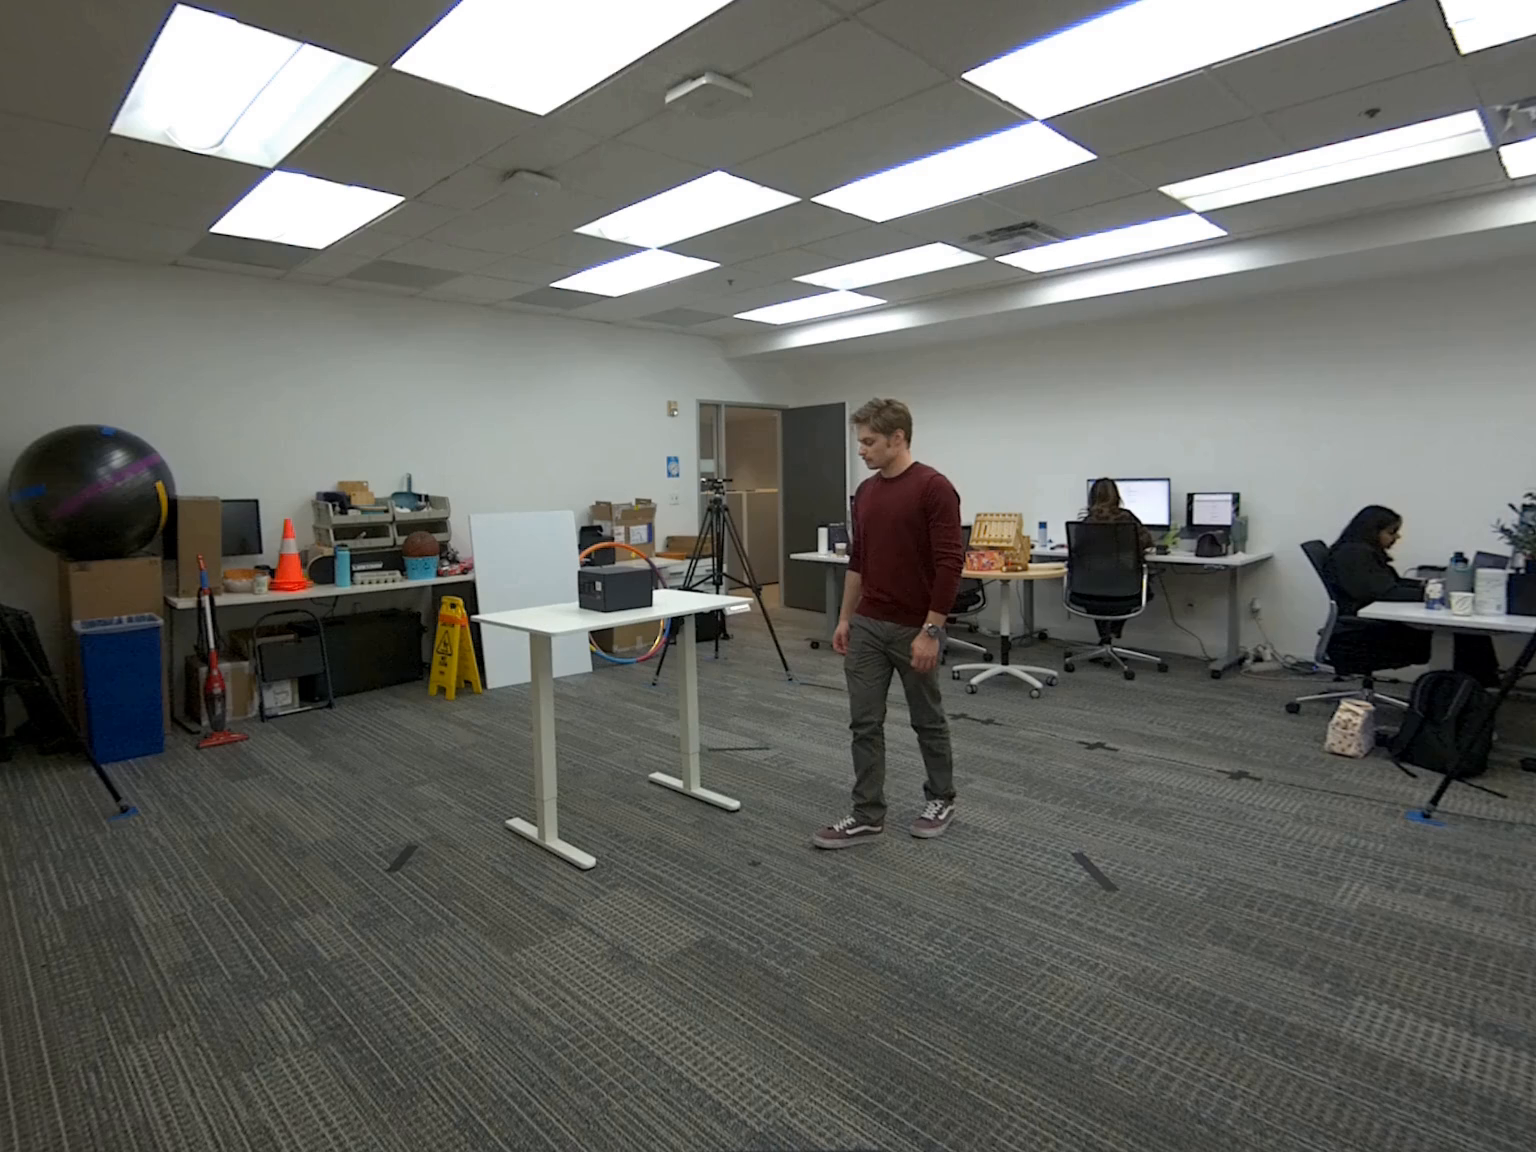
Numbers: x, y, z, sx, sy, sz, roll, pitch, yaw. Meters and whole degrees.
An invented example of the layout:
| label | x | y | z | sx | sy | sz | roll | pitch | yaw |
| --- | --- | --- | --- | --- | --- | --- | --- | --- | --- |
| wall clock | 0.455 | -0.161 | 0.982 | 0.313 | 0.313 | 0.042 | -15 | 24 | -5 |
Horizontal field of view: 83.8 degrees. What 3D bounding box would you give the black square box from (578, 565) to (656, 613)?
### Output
| label | x | y | z | sx | sy | sz | roll | pitch | yaw |
| --- | --- | --- | --- | --- | --- | --- | --- | --- | --- |
| black square box | -0.620 | 0.047 | 3.492 | 0.222 | 0.155 | 0.223 | -6 | 7 | -39 |
